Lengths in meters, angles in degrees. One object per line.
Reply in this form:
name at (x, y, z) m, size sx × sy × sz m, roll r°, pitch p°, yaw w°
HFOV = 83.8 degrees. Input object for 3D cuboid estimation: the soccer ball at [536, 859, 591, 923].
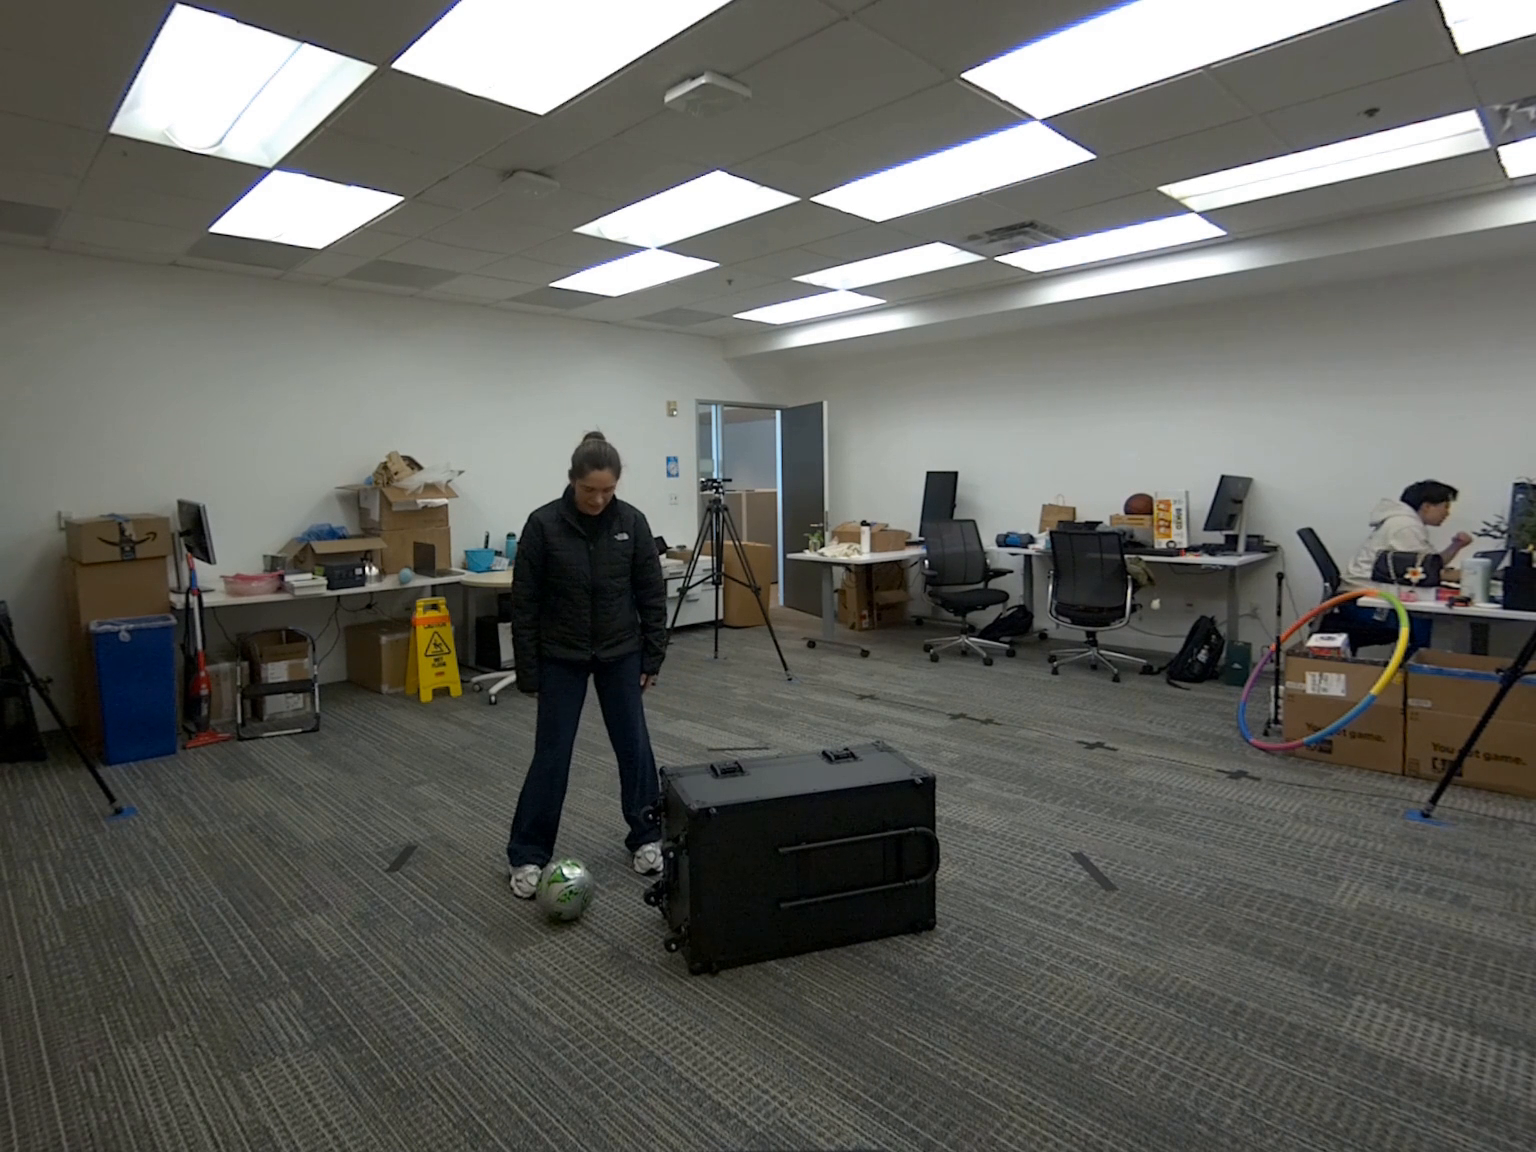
soccer ball at (-0.644, 1.006, 2.738) m, size 0.187 × 0.187 × 0.188 m, roll -1°, pitch 5°, yaw -2°
